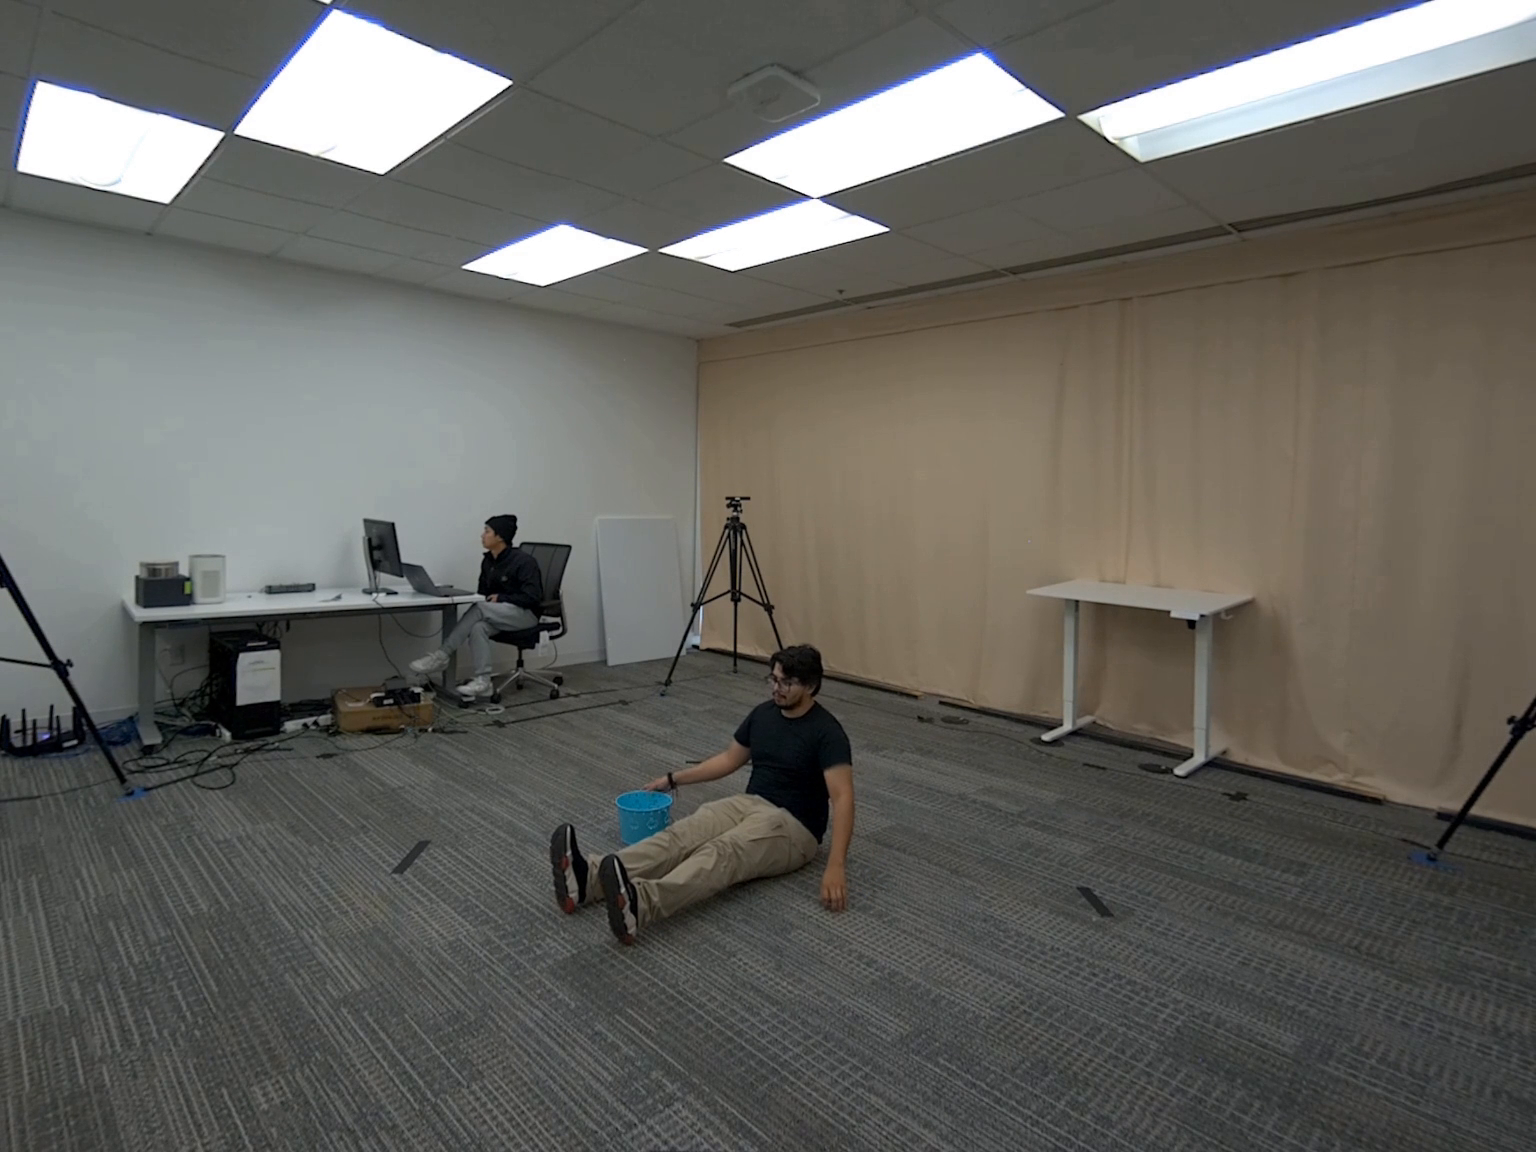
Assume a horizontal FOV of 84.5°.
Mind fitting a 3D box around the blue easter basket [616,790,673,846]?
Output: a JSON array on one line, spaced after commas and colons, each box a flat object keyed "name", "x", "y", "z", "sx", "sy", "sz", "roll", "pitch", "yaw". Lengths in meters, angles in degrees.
[{"name": "blue easter basket", "x": -0.505, "y": 0.985, "z": 3.446, "sx": 0.243, "sy": 0.155, "sz": 0.244, "roll": 2, "pitch": 4, "yaw": -1}]
